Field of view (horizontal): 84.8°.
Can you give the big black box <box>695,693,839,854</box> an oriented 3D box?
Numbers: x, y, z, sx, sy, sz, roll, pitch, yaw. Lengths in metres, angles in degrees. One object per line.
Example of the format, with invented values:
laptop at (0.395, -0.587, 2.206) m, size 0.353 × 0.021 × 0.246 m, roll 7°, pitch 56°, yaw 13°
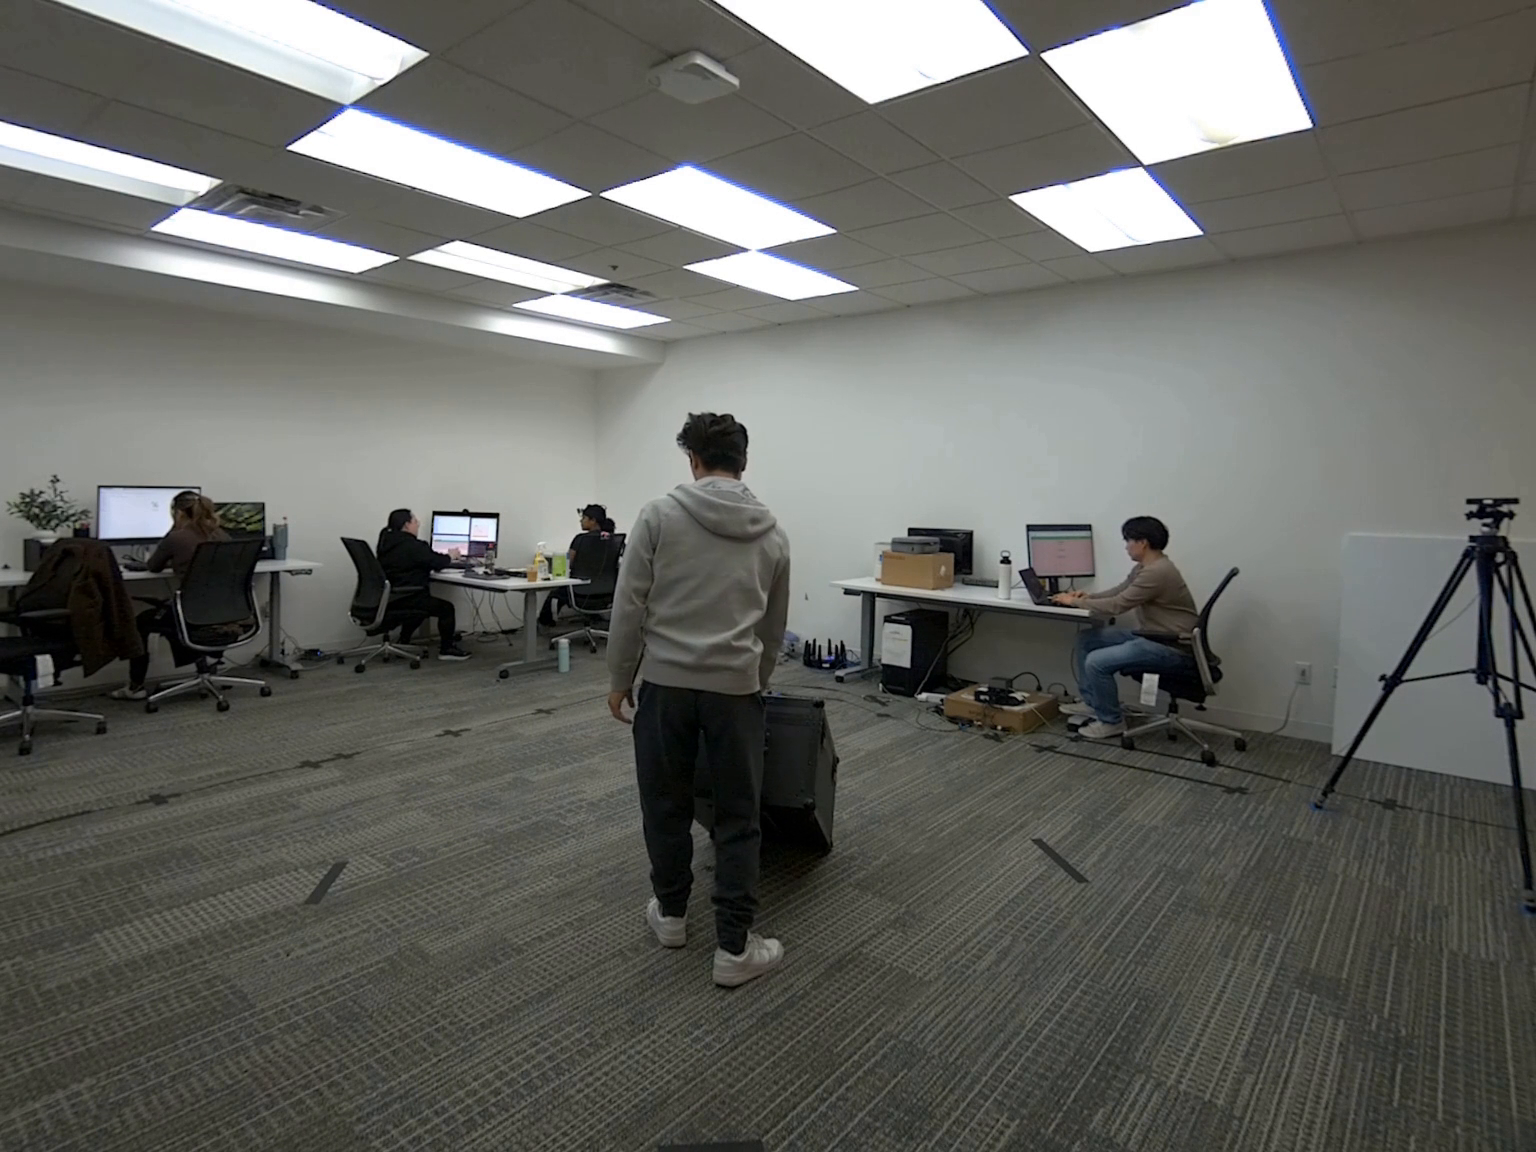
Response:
big black box at (-0.021, 0.743, 3.123) m, size 0.529 × 0.404 × 0.833 m, roll 2°, pitch -26°, yaw 12°
